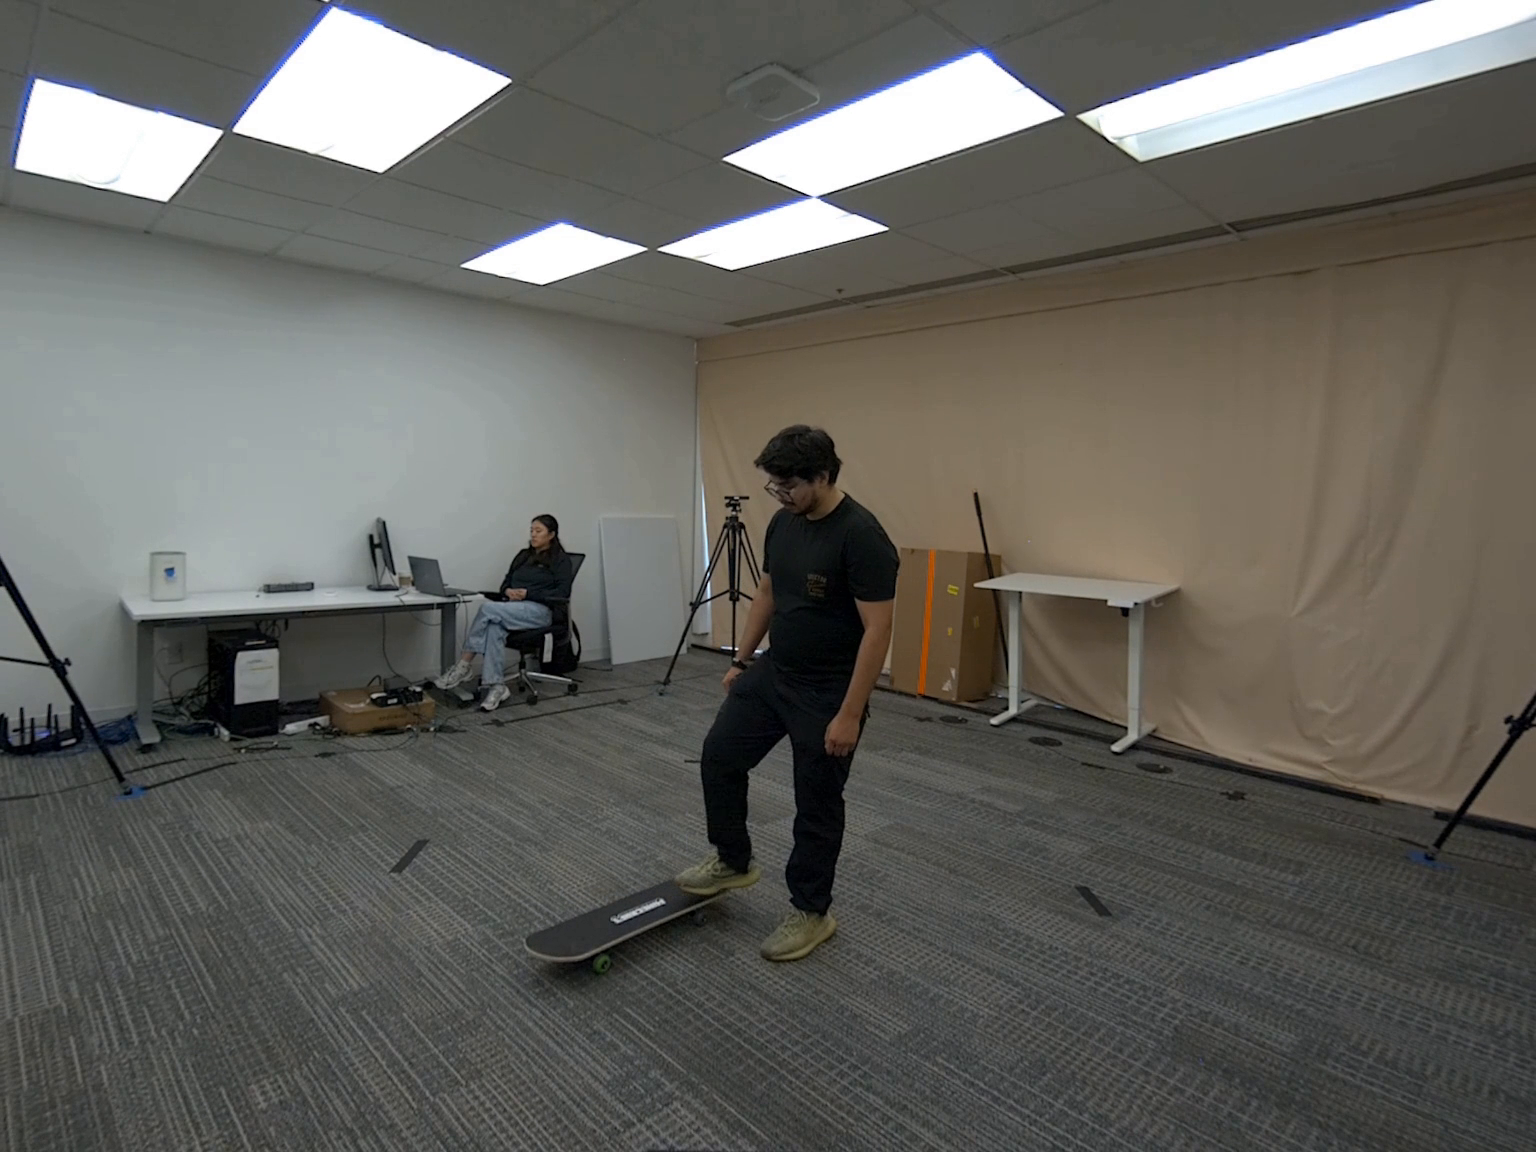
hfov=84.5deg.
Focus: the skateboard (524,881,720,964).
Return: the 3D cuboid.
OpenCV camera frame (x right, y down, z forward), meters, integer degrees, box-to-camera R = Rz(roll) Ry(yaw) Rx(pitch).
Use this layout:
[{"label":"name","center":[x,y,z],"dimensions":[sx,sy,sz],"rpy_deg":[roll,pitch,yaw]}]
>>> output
[{"label":"skateboard","center":[-0.411,1.084,2.642],"dimensions":[0.198,0.110,0.768],"rpy_deg":[6,7,43]}]
